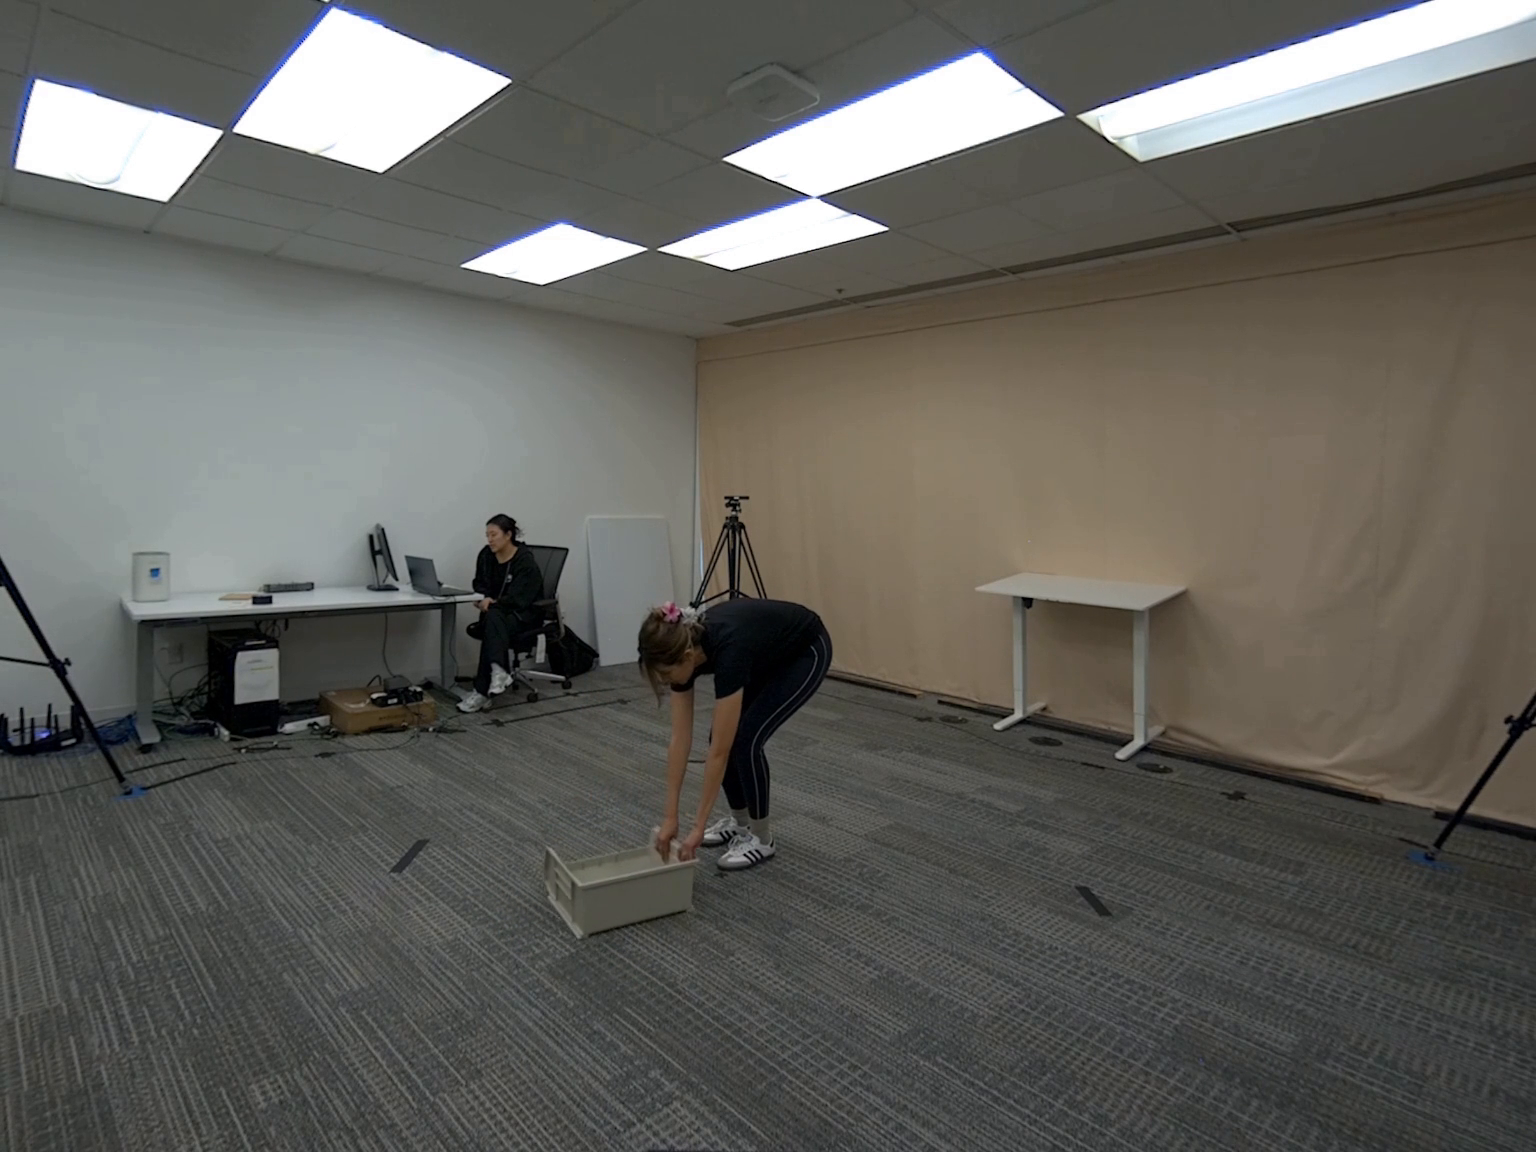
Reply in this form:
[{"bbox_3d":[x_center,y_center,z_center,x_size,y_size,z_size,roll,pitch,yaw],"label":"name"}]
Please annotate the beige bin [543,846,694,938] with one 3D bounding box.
[{"bbox_3d":[-0.518,1.027,2.877,0.413,0.188,0.386,-1,6,-31],"label":"beige bin"}]
